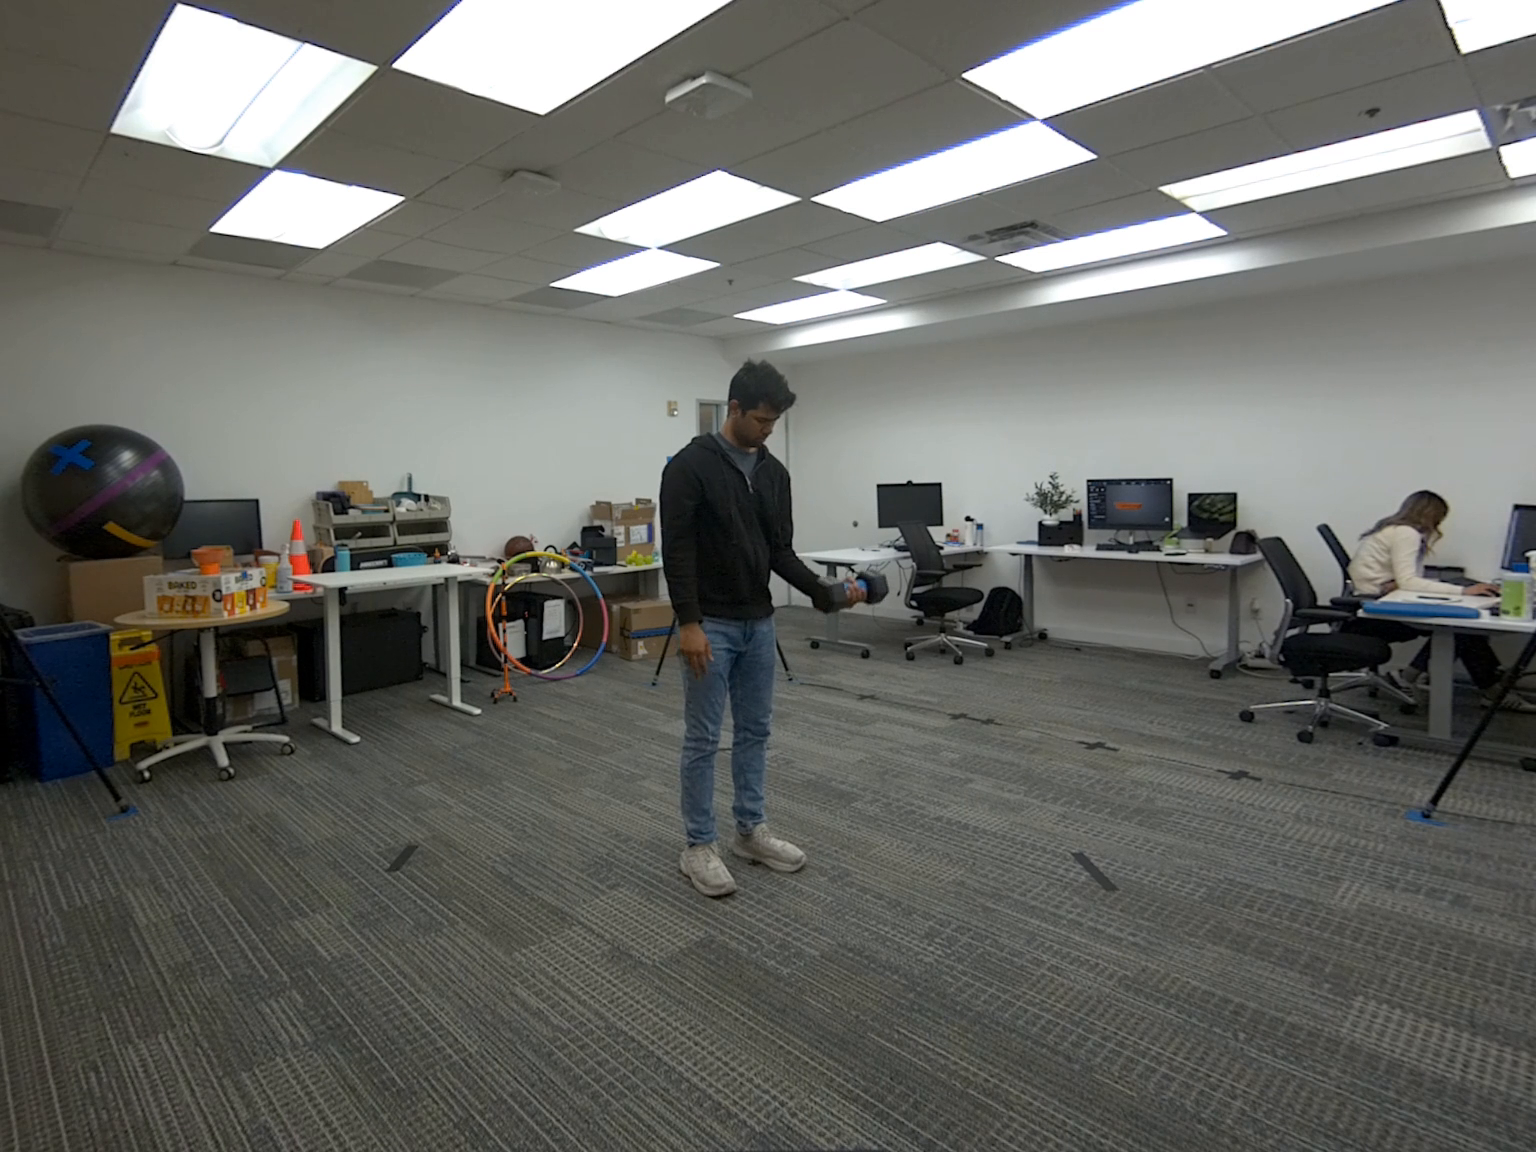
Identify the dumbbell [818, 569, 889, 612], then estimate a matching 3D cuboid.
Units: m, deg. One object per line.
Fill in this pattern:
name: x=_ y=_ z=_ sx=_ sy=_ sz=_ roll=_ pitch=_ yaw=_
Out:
dumbbell: x=0.267 y=0.039 z=2.920 sx=0.286 sy=0.112 sz=0.122 roll=-9 pitch=-37 yaw=-40
